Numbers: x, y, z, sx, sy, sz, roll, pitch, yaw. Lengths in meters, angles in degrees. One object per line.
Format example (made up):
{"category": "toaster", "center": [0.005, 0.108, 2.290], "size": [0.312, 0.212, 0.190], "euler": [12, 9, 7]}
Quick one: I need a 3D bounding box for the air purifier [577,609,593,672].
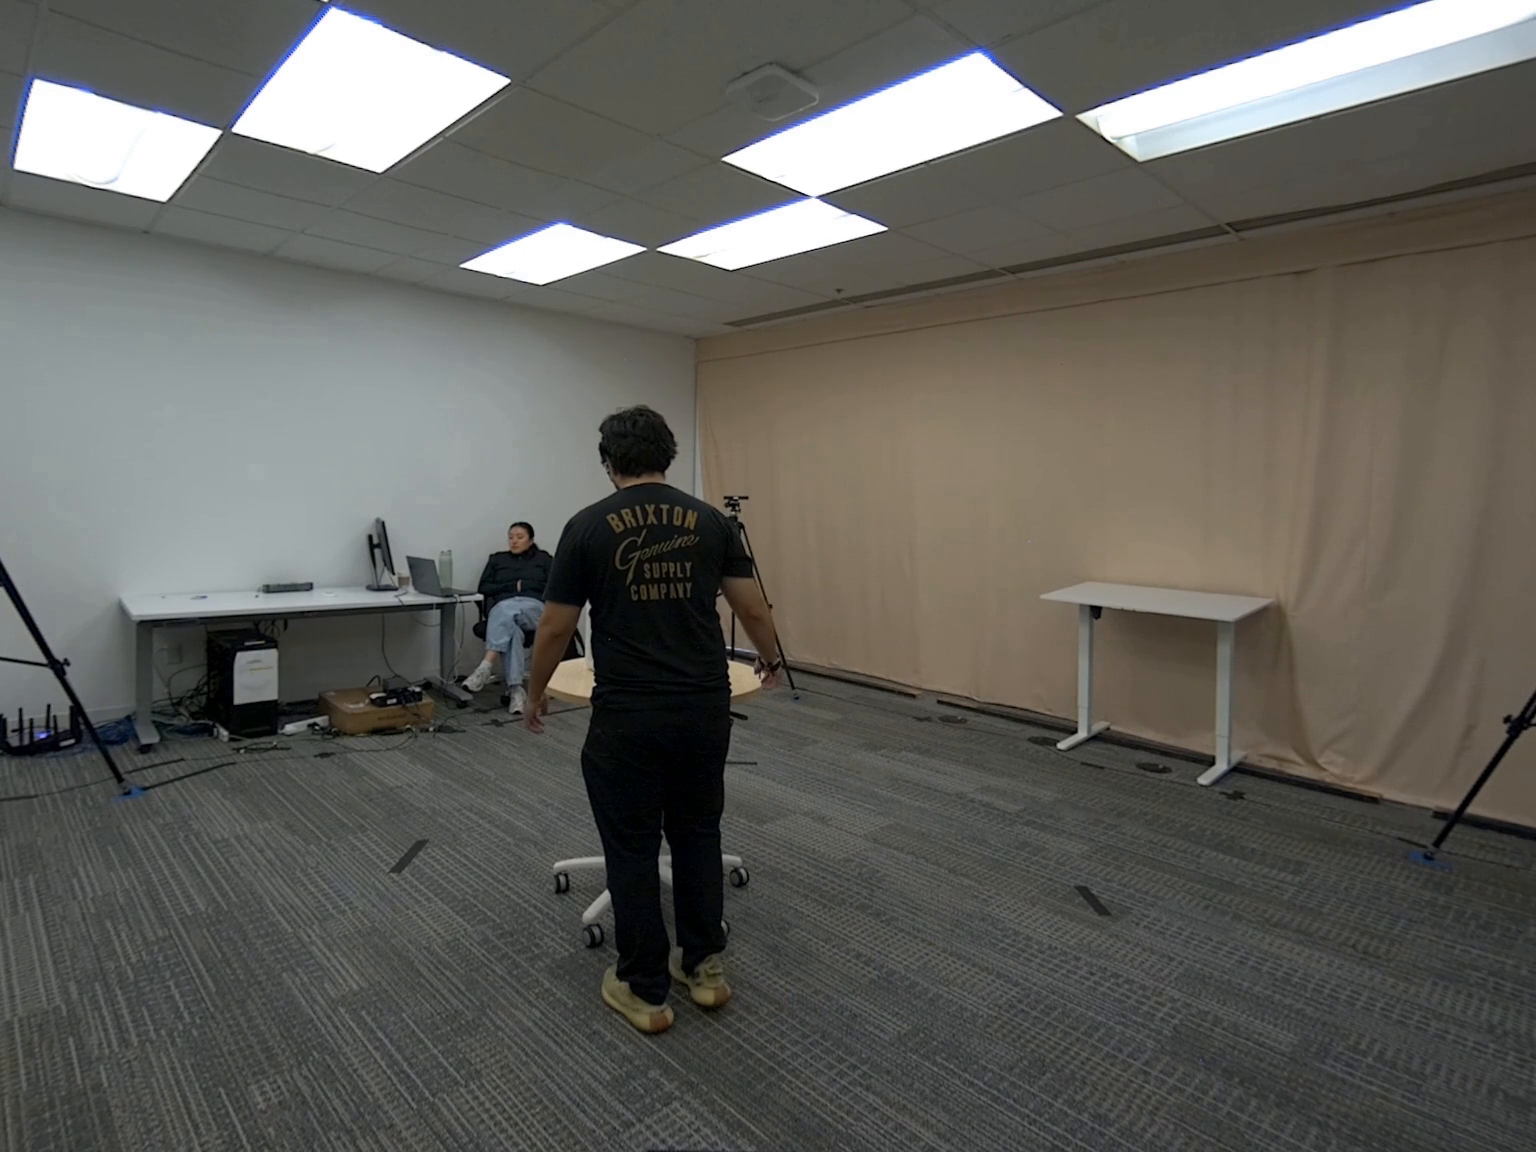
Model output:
{"category": "air purifier", "center": [-0.533, 0.197, 2.911], "size": [0.175, 0.265, 0.167], "euler": [6, 4, 31]}
